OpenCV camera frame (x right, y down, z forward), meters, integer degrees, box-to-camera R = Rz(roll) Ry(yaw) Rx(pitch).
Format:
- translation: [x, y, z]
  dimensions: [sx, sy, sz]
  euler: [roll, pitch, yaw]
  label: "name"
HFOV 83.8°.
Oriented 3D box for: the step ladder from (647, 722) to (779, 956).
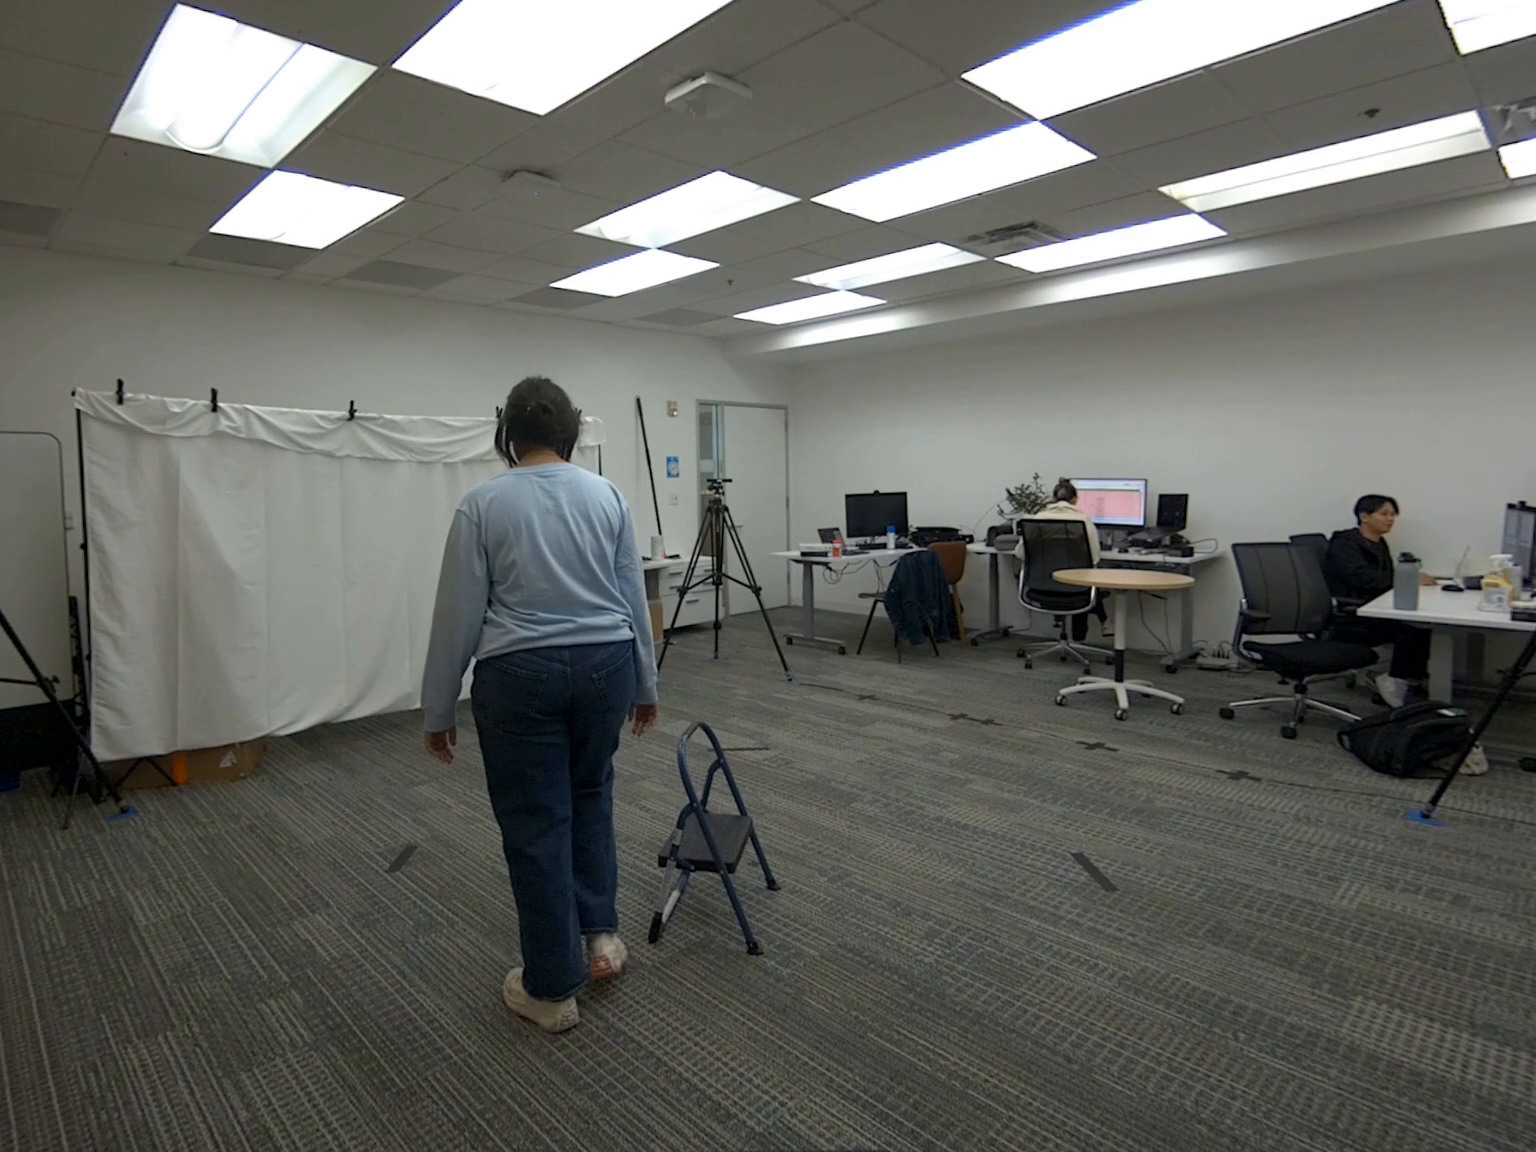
- translation: [-0.168, 0.788, 2.731]
  dimensions: [0.353, 0.604, 0.428]
  euler: [0, 5, 10]
  label: "step ladder"
